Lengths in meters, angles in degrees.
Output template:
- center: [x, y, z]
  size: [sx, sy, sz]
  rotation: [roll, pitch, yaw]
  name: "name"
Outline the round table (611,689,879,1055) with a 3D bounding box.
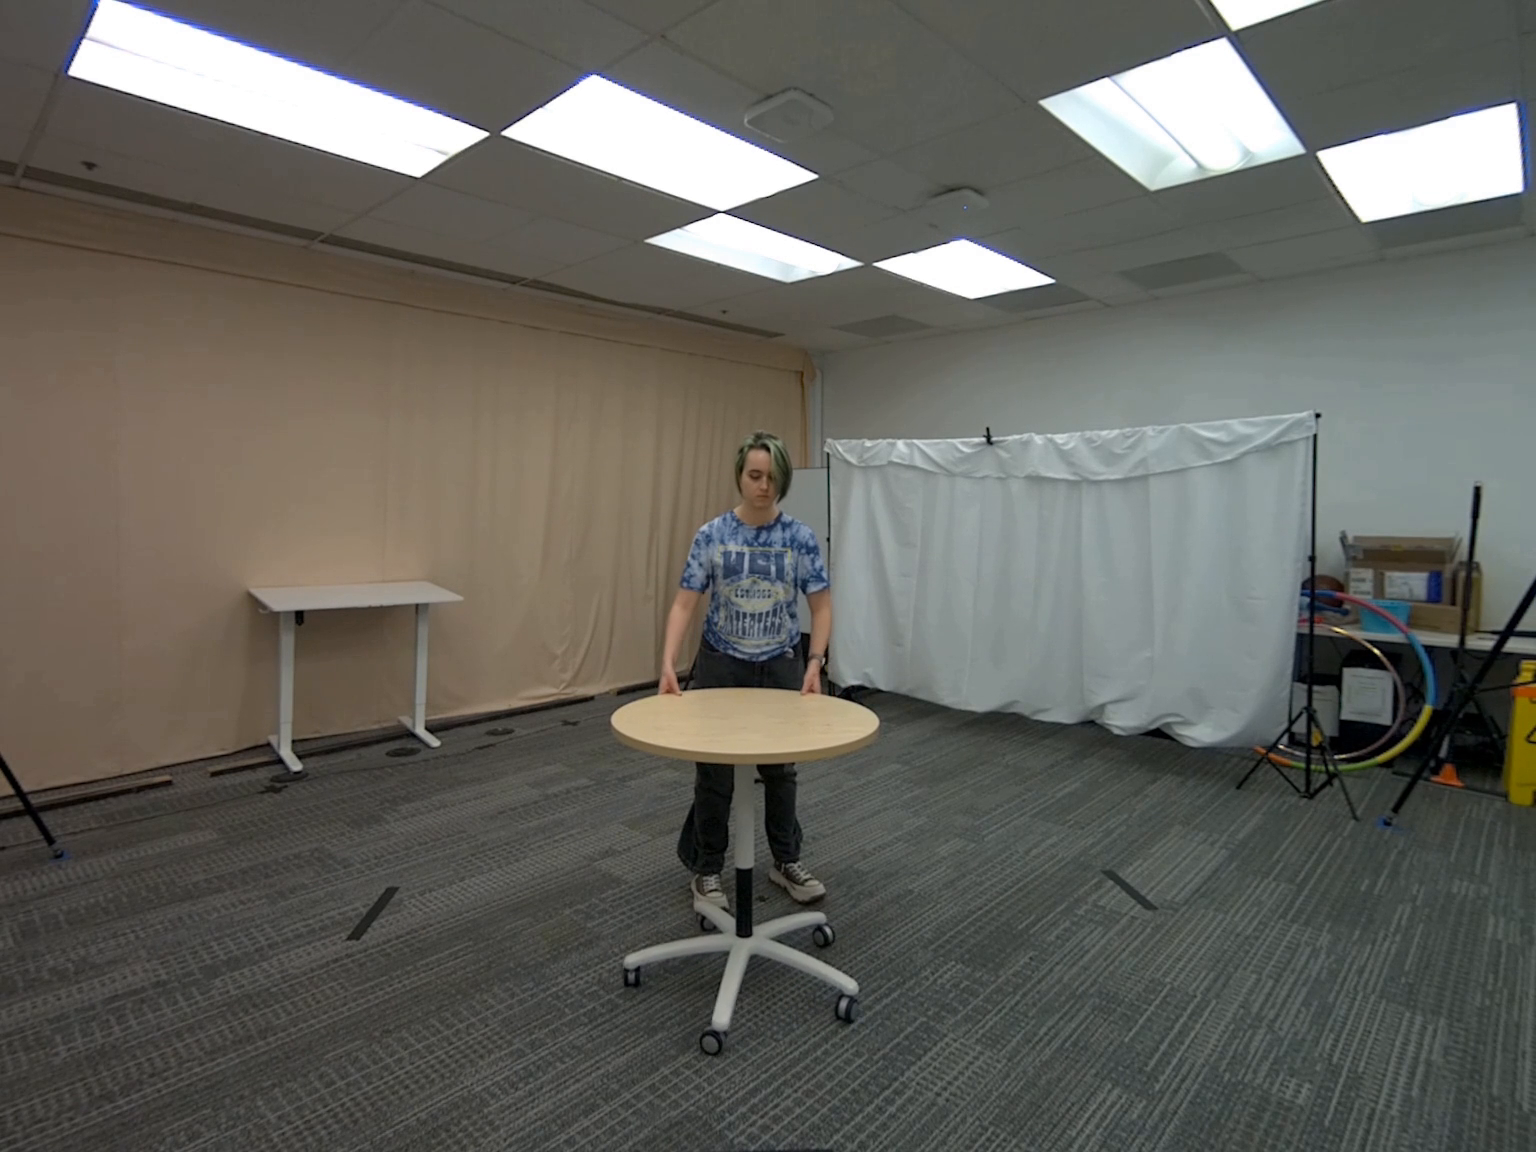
- center: [-0.070, 0.797, 2.451]
  size: [0.763, 0.792, 0.766]
  rotation: [0, 4, -2]
  name: "round table"
